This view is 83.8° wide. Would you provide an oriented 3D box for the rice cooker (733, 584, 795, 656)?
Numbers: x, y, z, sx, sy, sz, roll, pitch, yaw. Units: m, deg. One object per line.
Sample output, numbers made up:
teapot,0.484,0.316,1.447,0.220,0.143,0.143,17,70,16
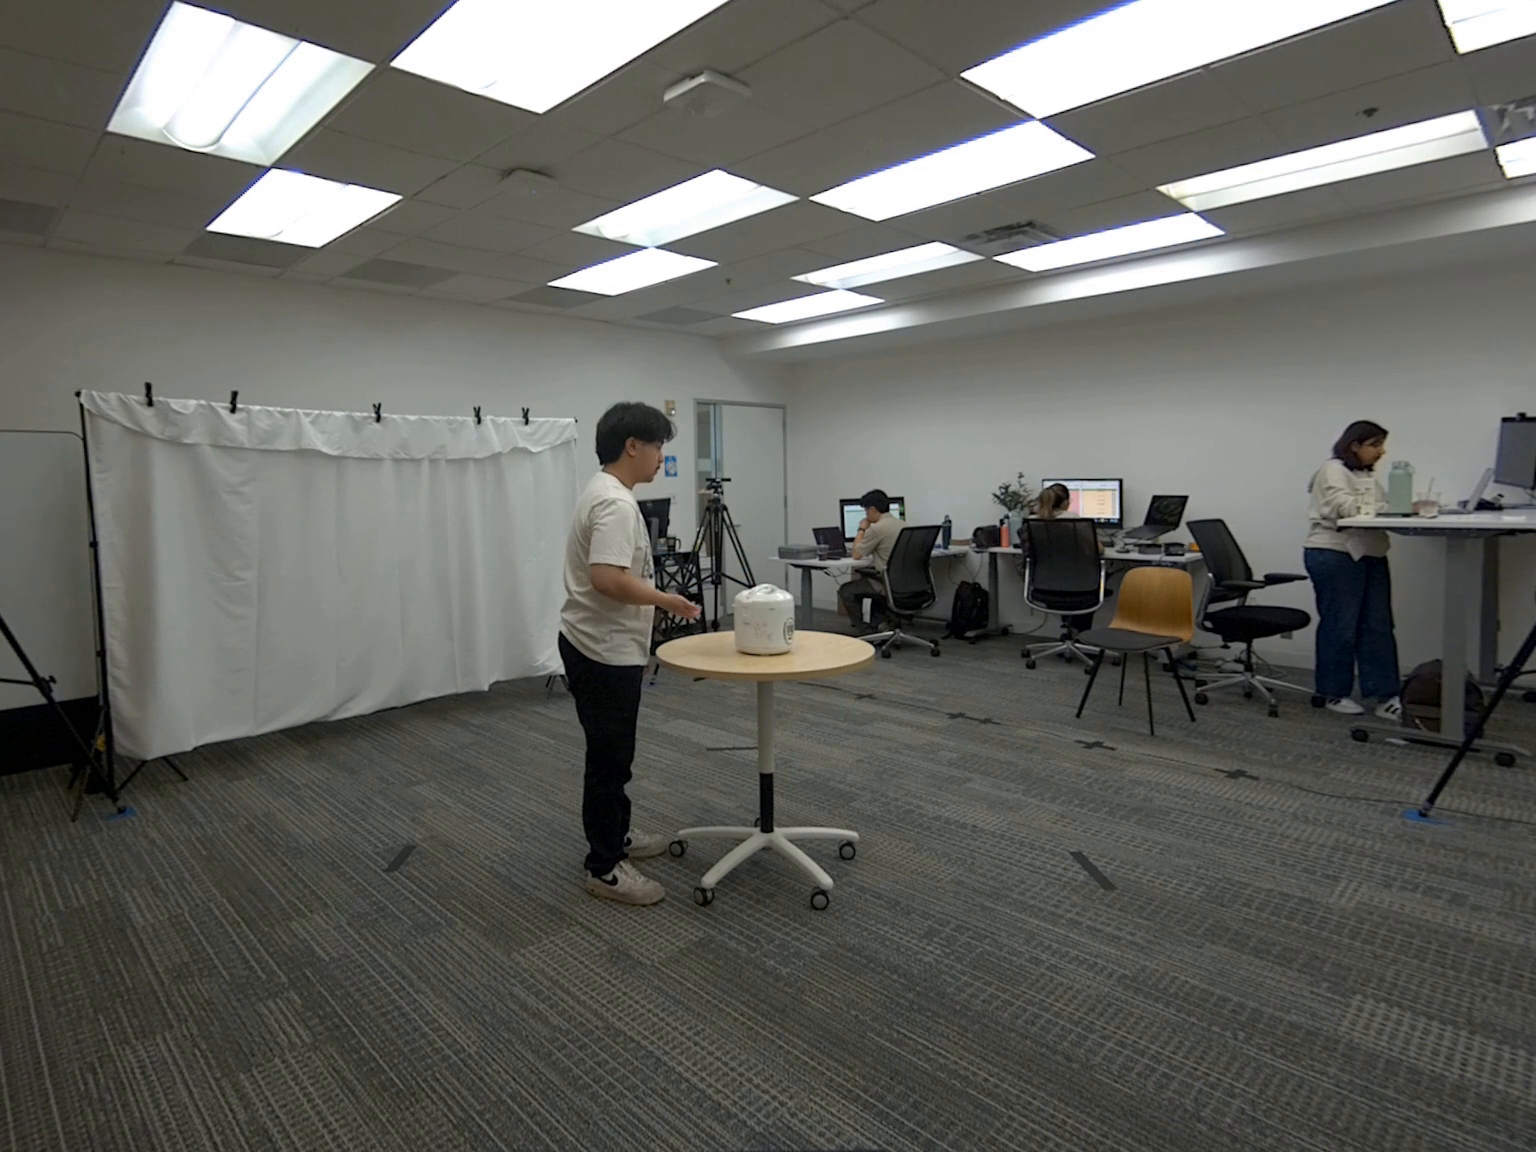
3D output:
rice cooker,-0.010,0.138,2.953,0.224,0.232,0.215,2,5,38
